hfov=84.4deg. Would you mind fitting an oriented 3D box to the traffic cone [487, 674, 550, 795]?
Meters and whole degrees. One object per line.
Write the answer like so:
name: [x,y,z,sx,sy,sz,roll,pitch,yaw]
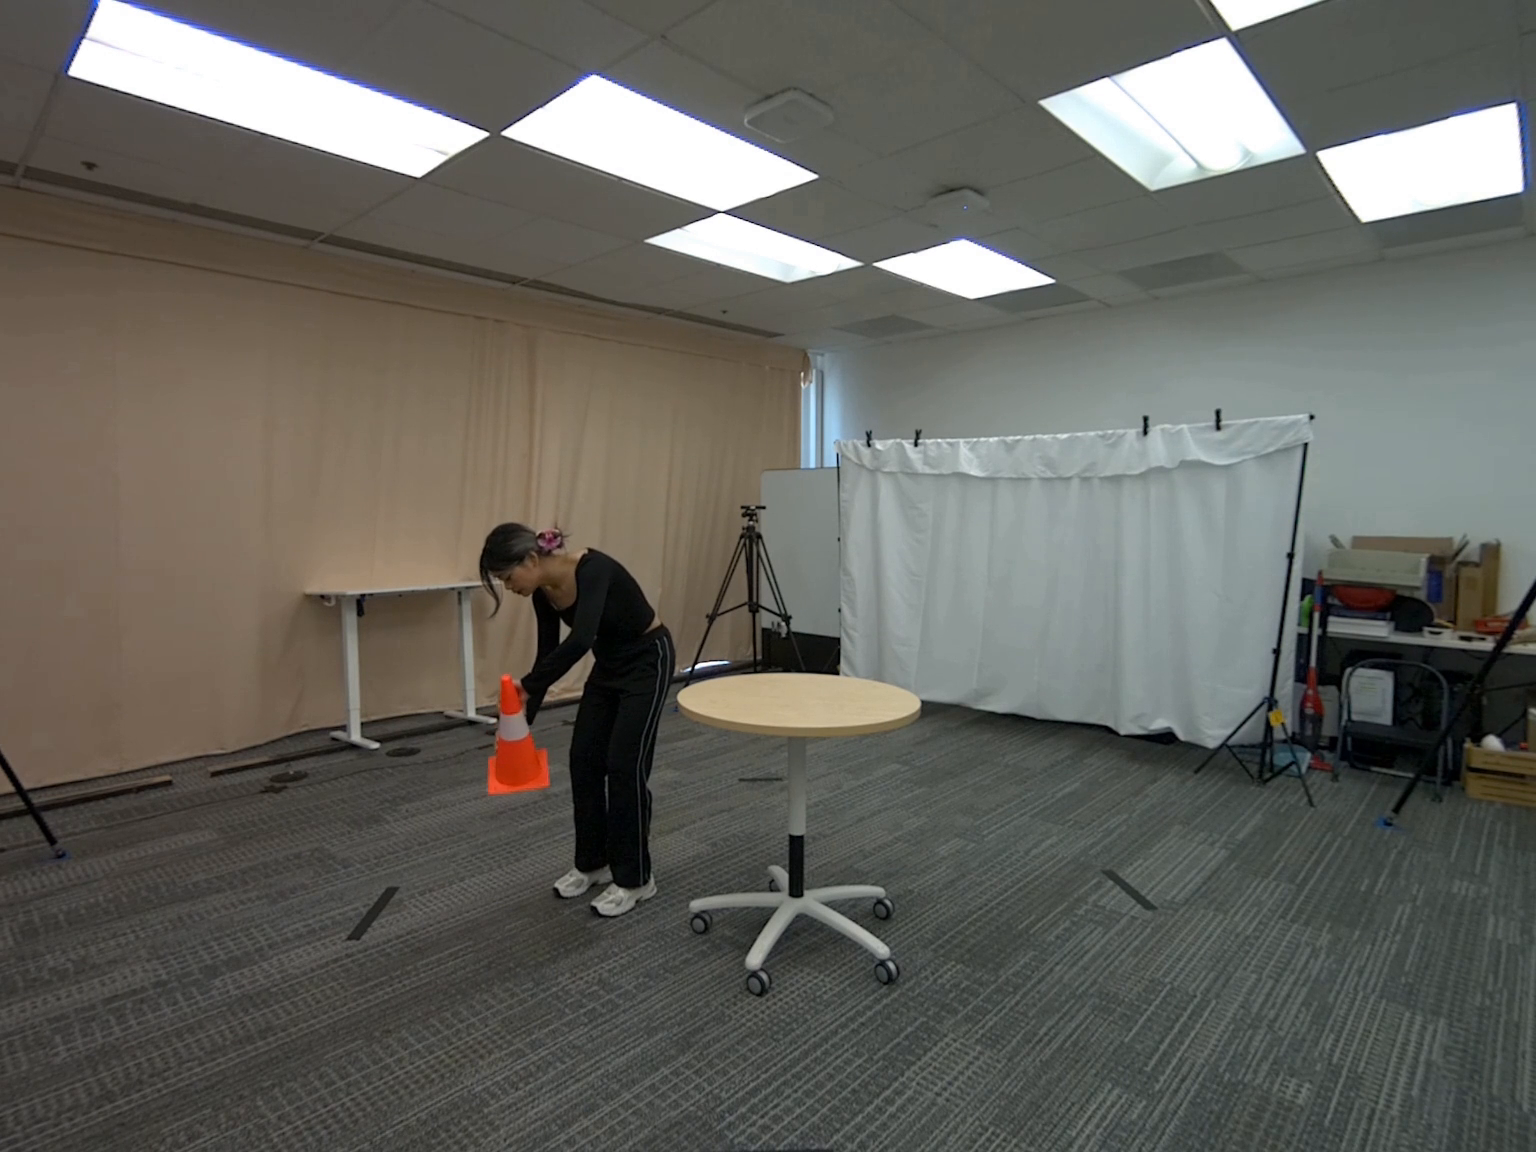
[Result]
traffic cone: [-0.833,0.498,2.750,0.201,0.379,0.210,-7,25,-22]
